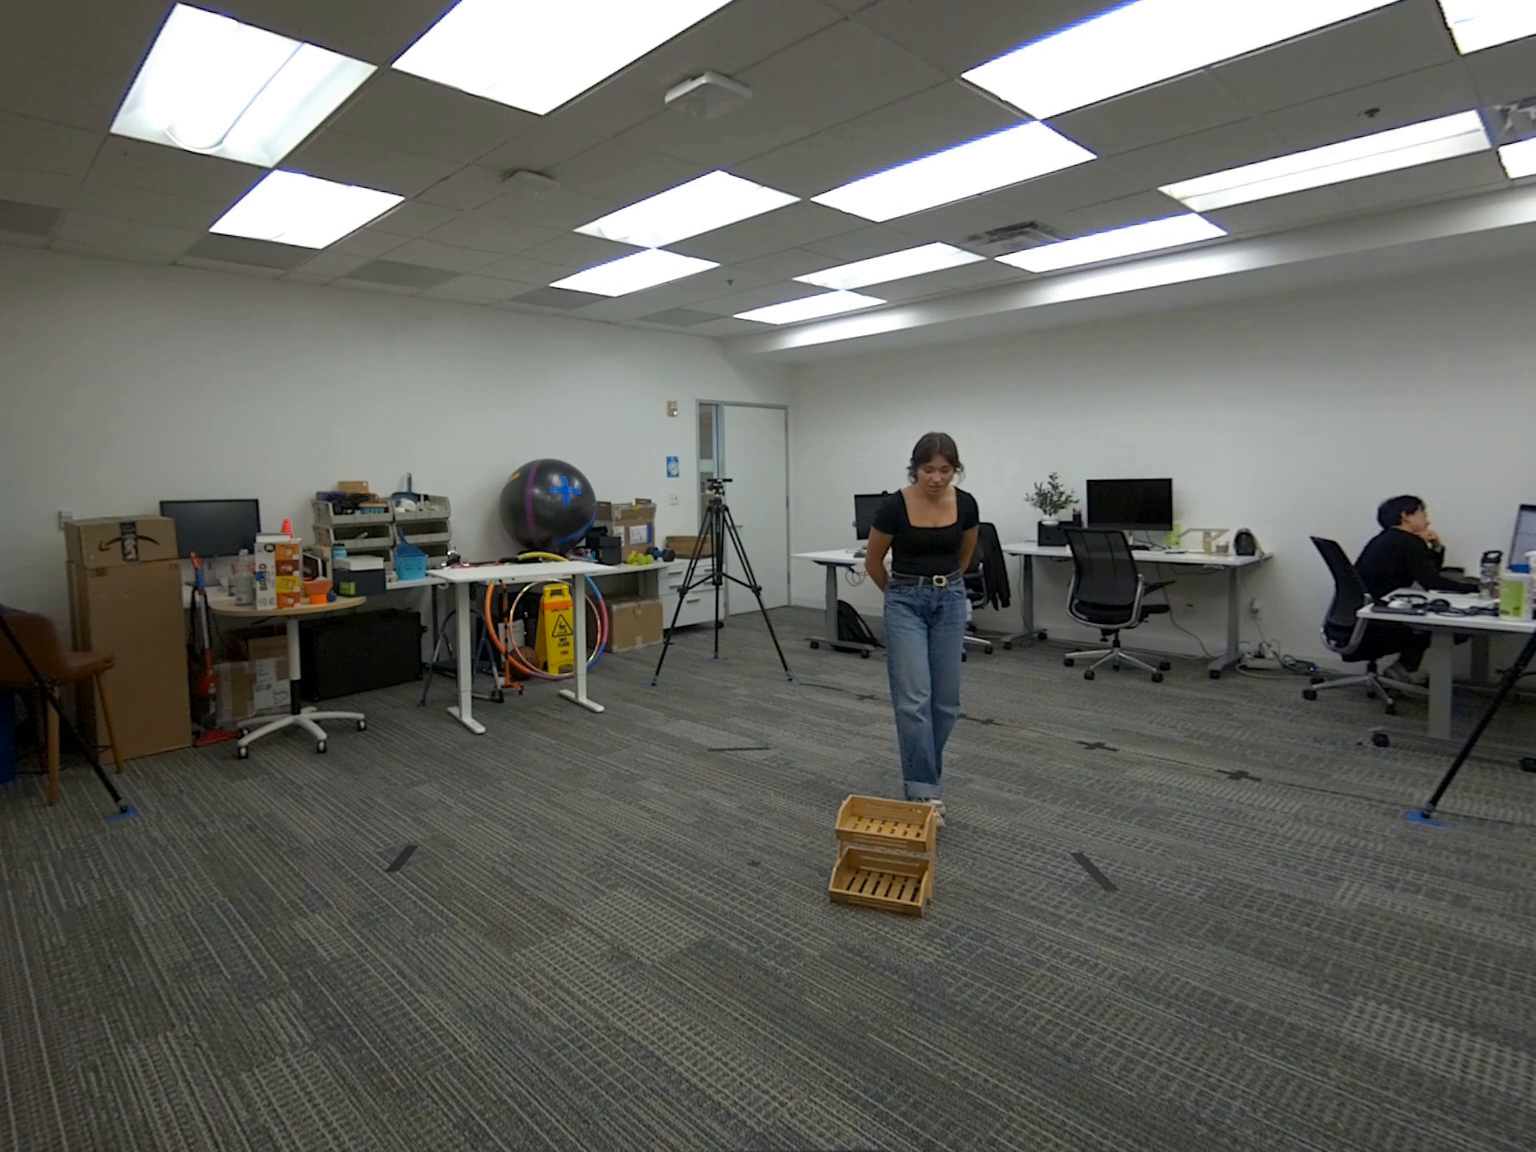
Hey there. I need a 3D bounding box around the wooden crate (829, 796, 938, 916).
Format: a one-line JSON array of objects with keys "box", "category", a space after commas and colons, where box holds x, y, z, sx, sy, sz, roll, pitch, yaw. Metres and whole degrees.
[{"box": [0.393, 0.932, 2.869, 0.331, 0.272, 0.297, 1, 5, 21], "category": "wooden crate"}]
